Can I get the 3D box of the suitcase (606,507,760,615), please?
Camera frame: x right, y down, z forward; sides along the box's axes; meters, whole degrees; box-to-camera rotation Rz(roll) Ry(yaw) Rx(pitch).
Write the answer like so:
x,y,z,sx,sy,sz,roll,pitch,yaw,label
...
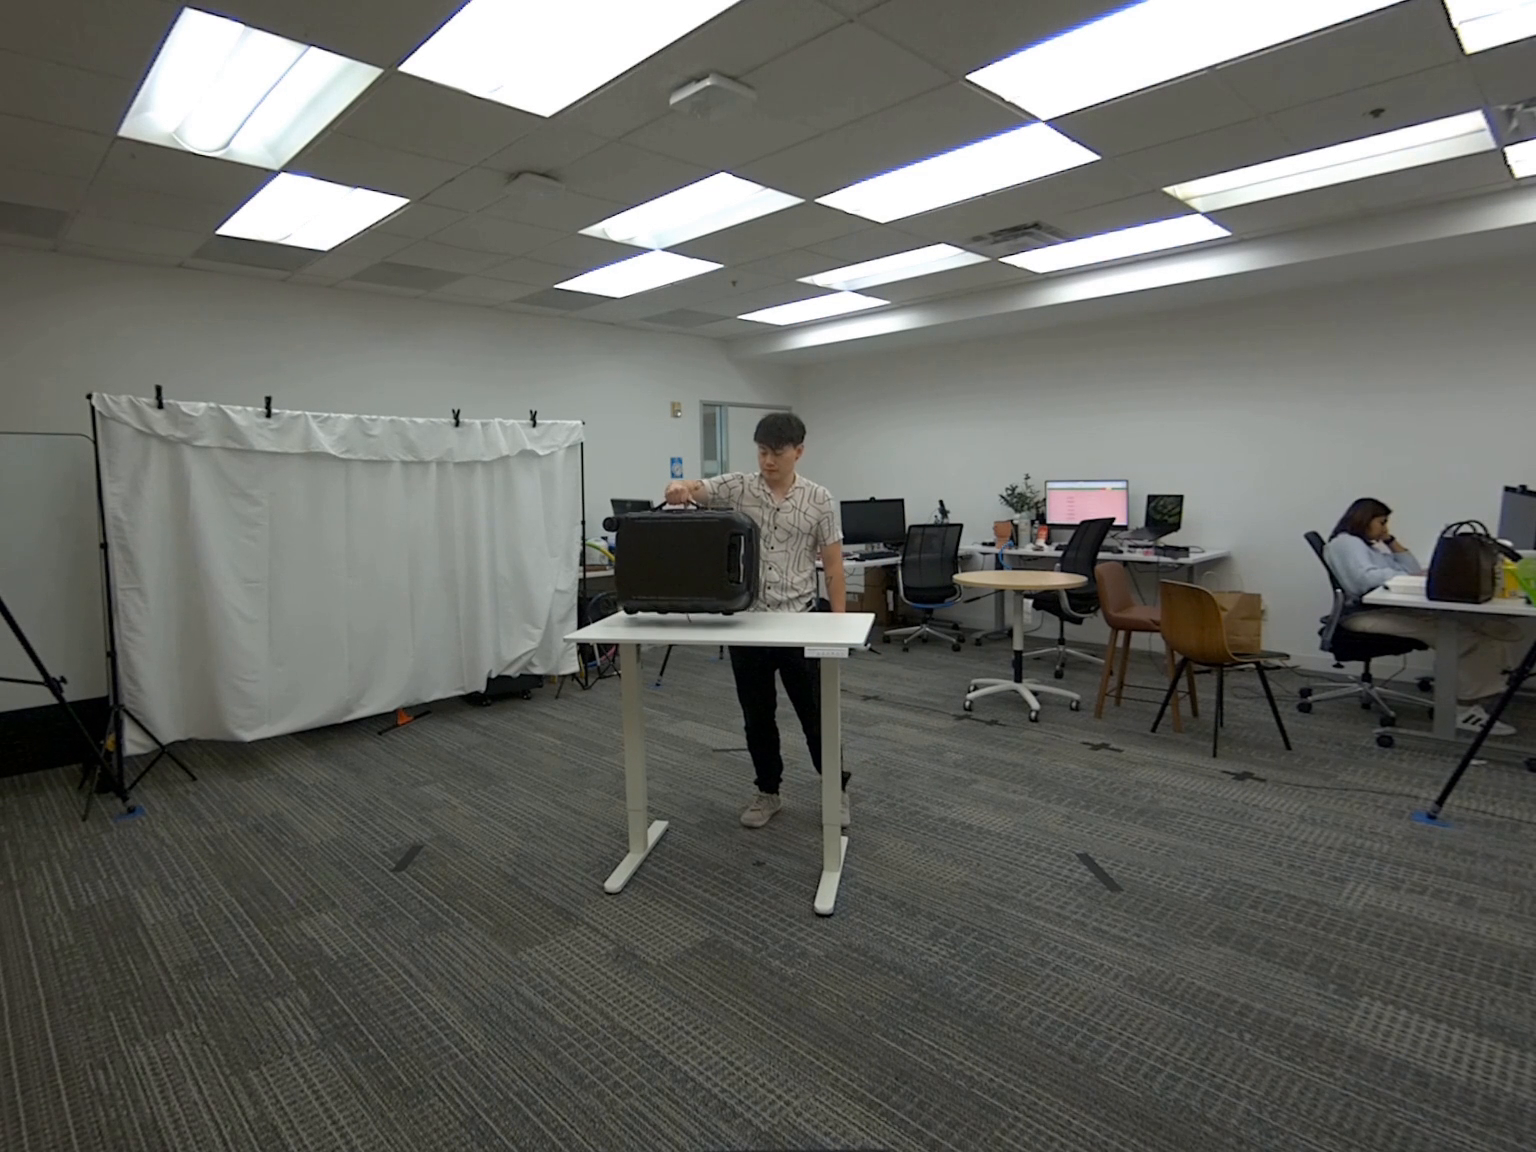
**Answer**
x,y,z,sx,sy,sz,roll,pitch,yaw,label
-0.304,-0.060,3.100,0.559,0.377,0.243,0,-5,18,suitcase
